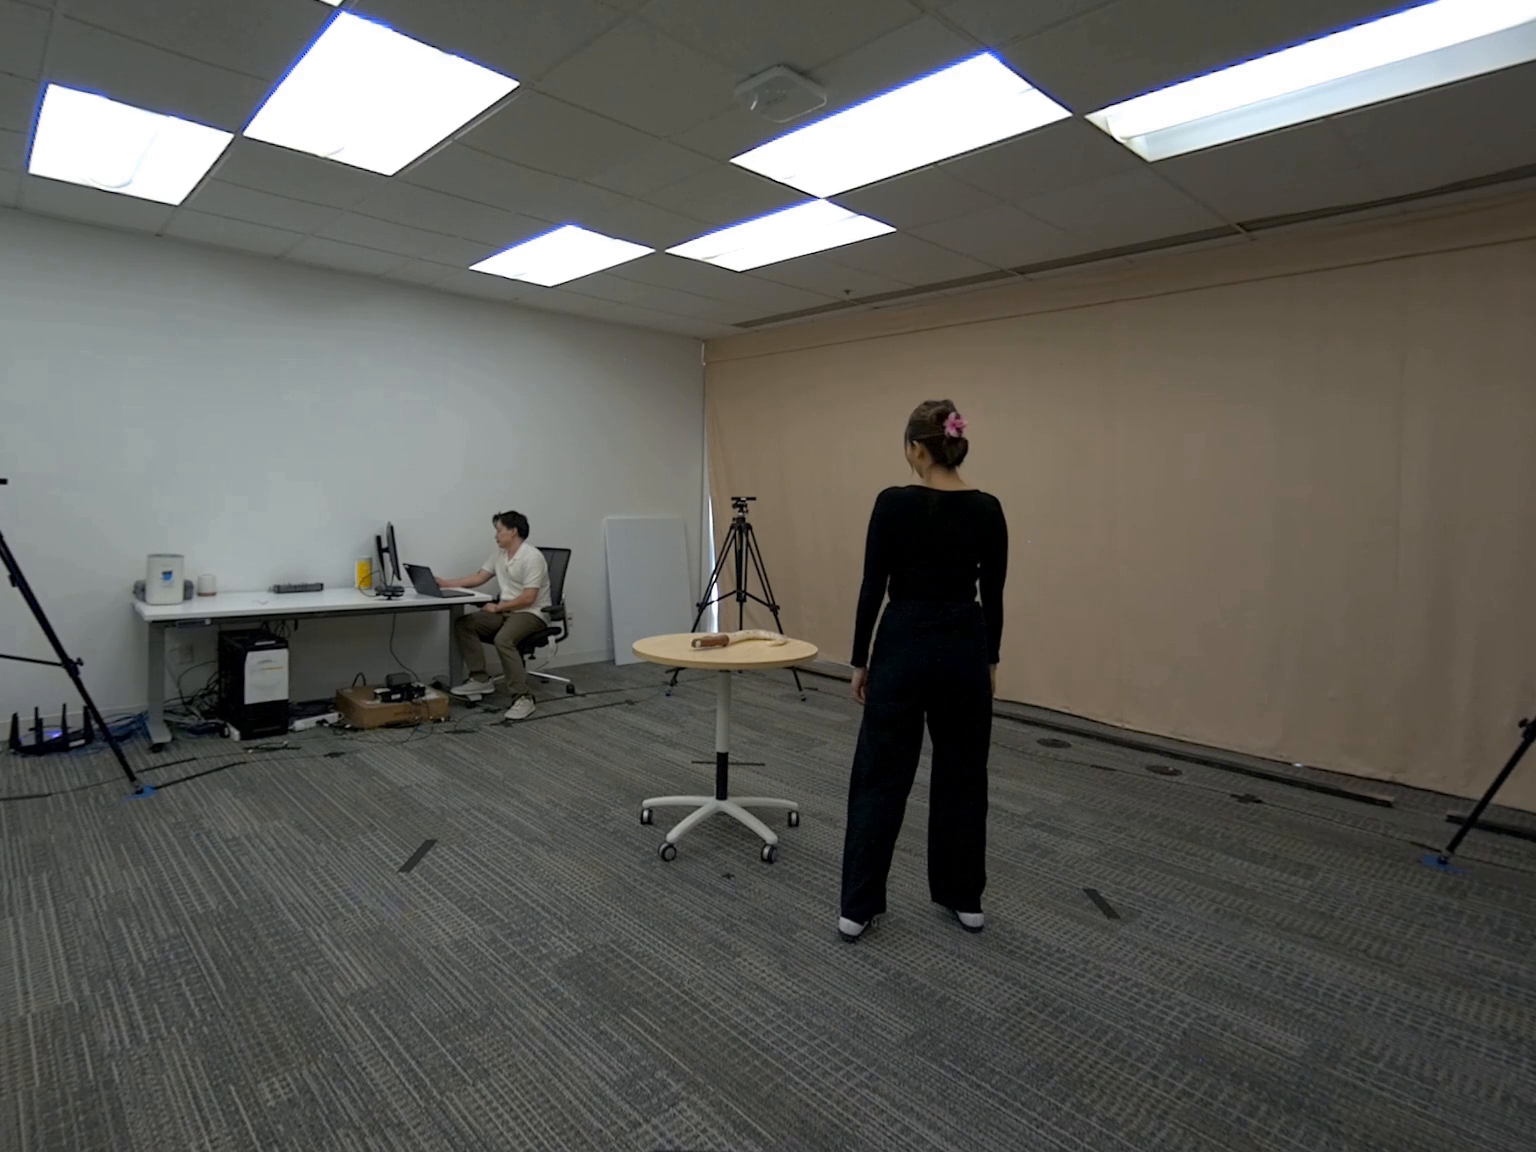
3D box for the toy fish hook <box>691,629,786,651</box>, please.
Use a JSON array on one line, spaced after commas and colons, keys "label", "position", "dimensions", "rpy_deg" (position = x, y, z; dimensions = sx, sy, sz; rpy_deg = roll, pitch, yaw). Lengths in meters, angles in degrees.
[{"label": "toy fish hook", "position": [-0.116, 0.268, 3.507], "dimensions": [0.230, 0.048, 0.496], "rpy_deg": [5, 5, 35]}]
